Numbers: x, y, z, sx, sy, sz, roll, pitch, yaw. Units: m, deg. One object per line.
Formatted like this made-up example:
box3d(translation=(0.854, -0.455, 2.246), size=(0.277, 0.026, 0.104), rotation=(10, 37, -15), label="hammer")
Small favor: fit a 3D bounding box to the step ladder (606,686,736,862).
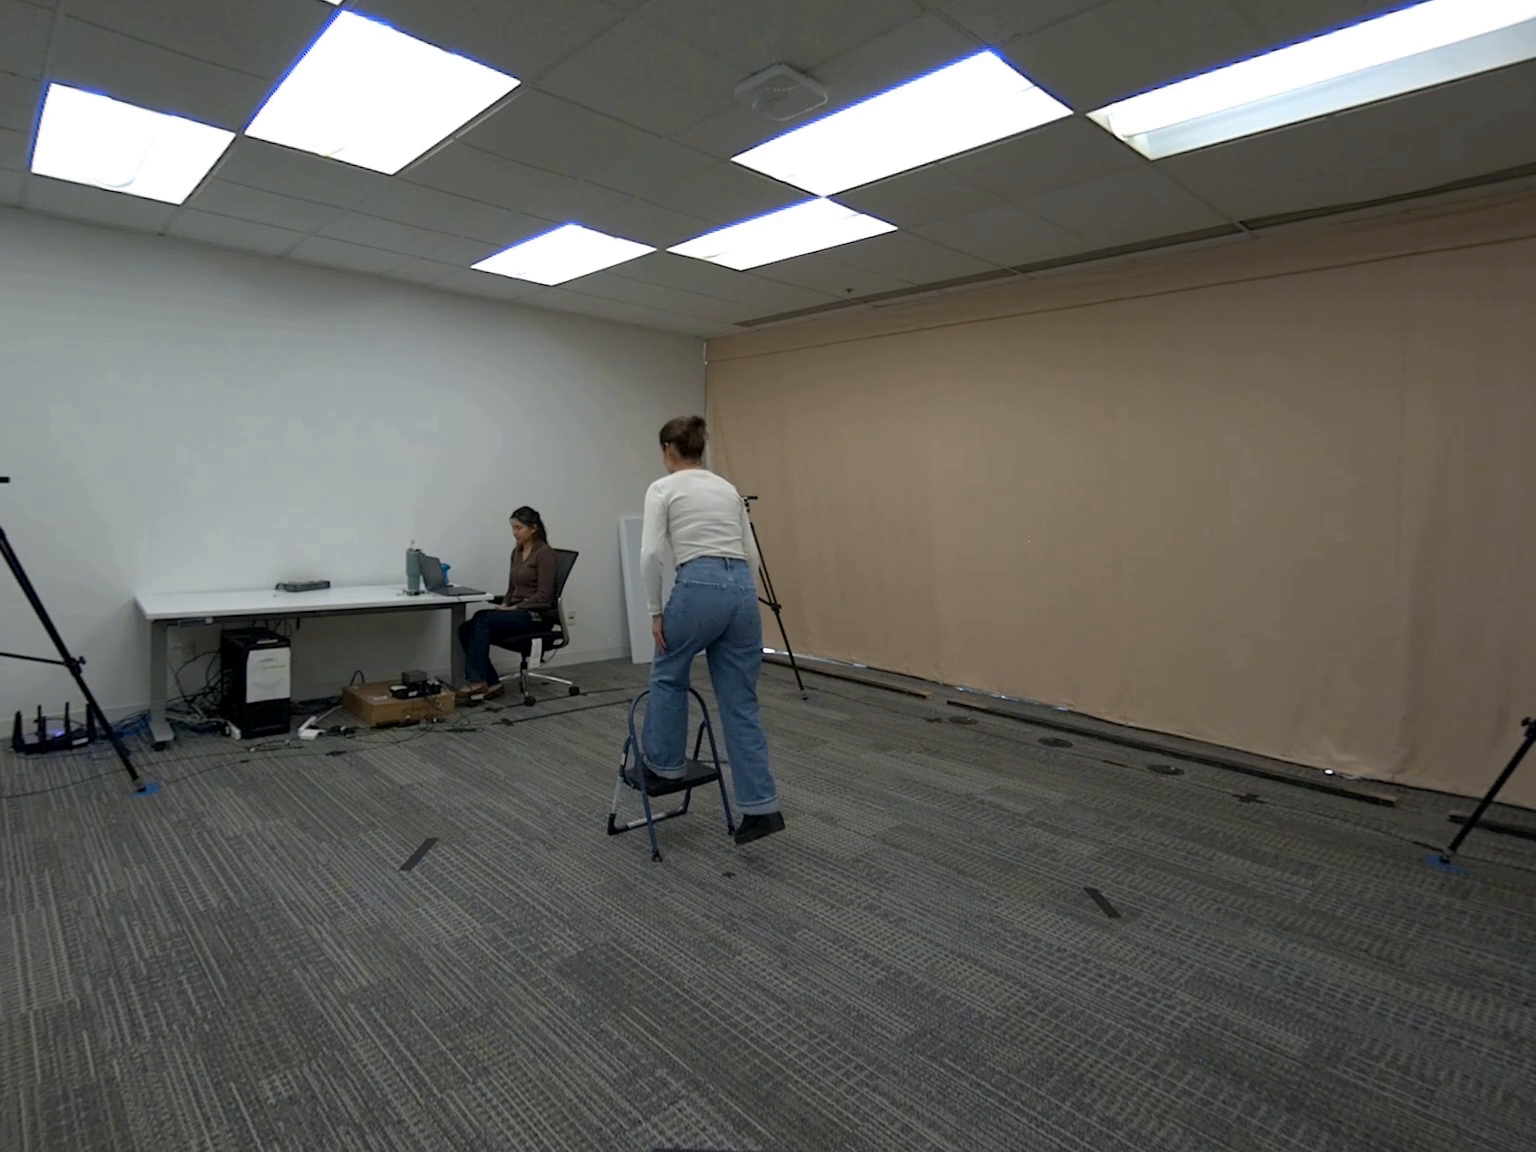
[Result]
box3d(translation=(-0.391, 0.764, 3.452), size=(0.421, 0.604, 0.358), rotation=(-2, 5, -44), label="step ladder")
